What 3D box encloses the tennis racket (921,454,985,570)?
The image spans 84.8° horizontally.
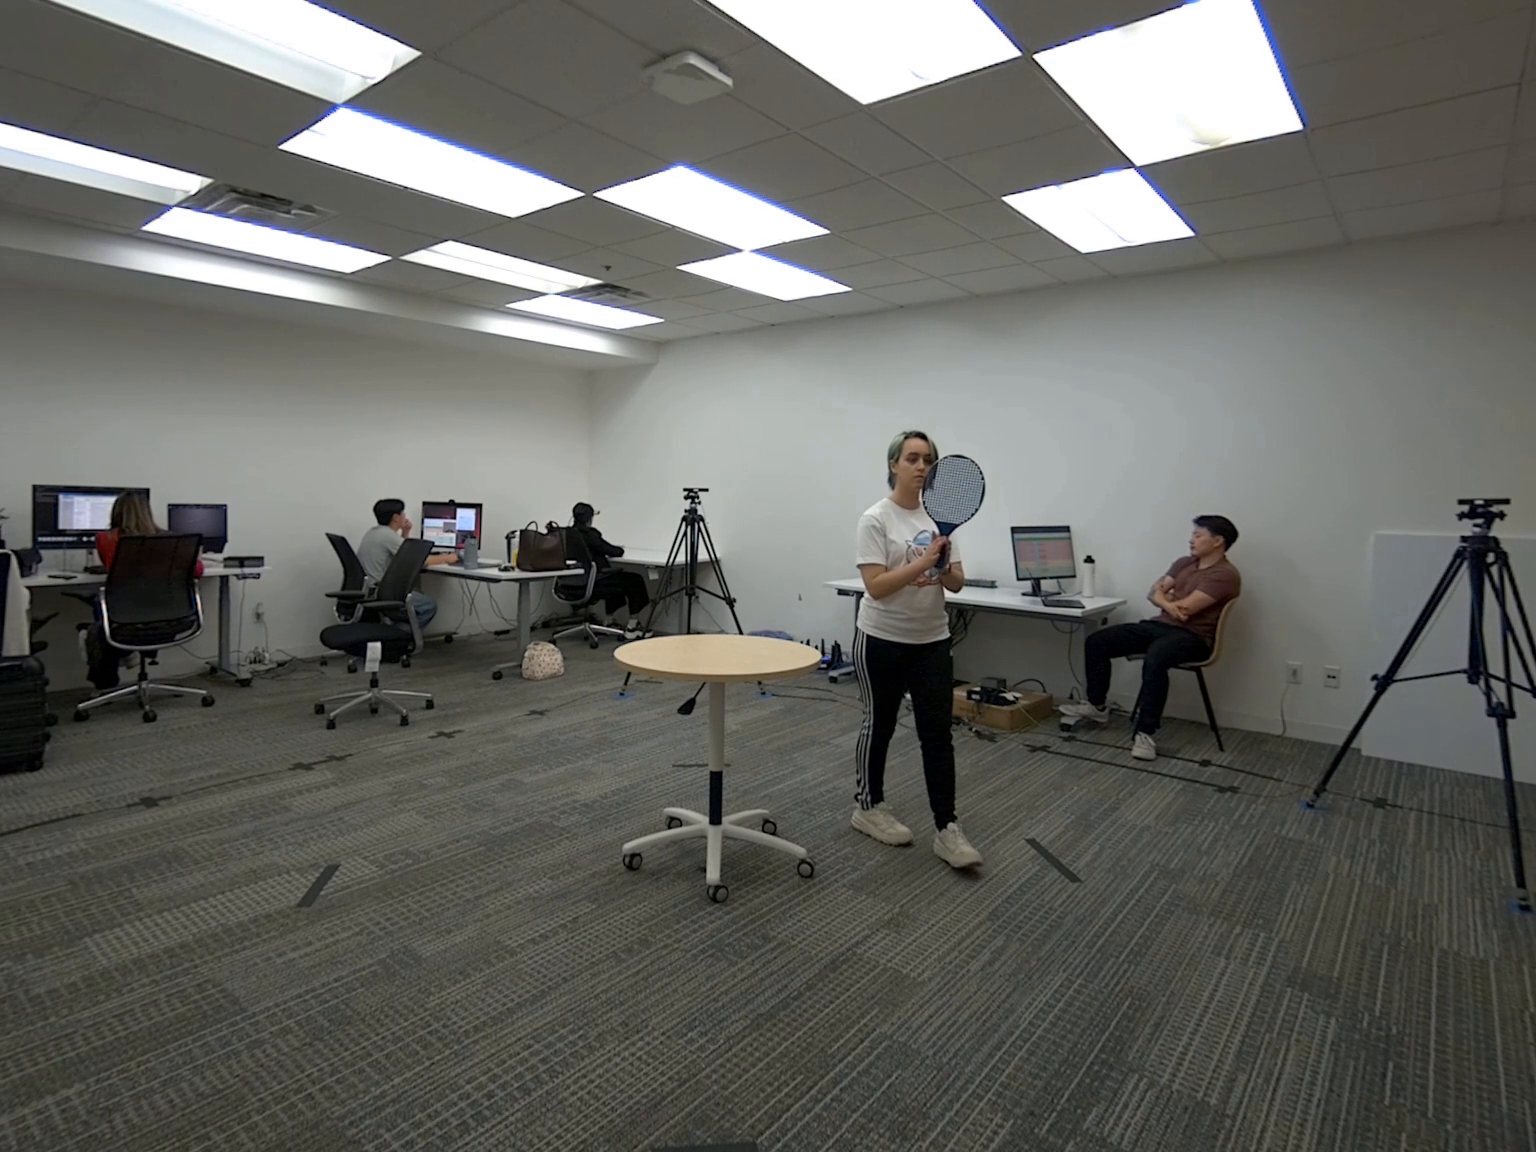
[{"bbox_3d":[0.636,-0.232,3.030,0.217,0.427,0.031,18,20,12],"label":"tennis racket"}]
